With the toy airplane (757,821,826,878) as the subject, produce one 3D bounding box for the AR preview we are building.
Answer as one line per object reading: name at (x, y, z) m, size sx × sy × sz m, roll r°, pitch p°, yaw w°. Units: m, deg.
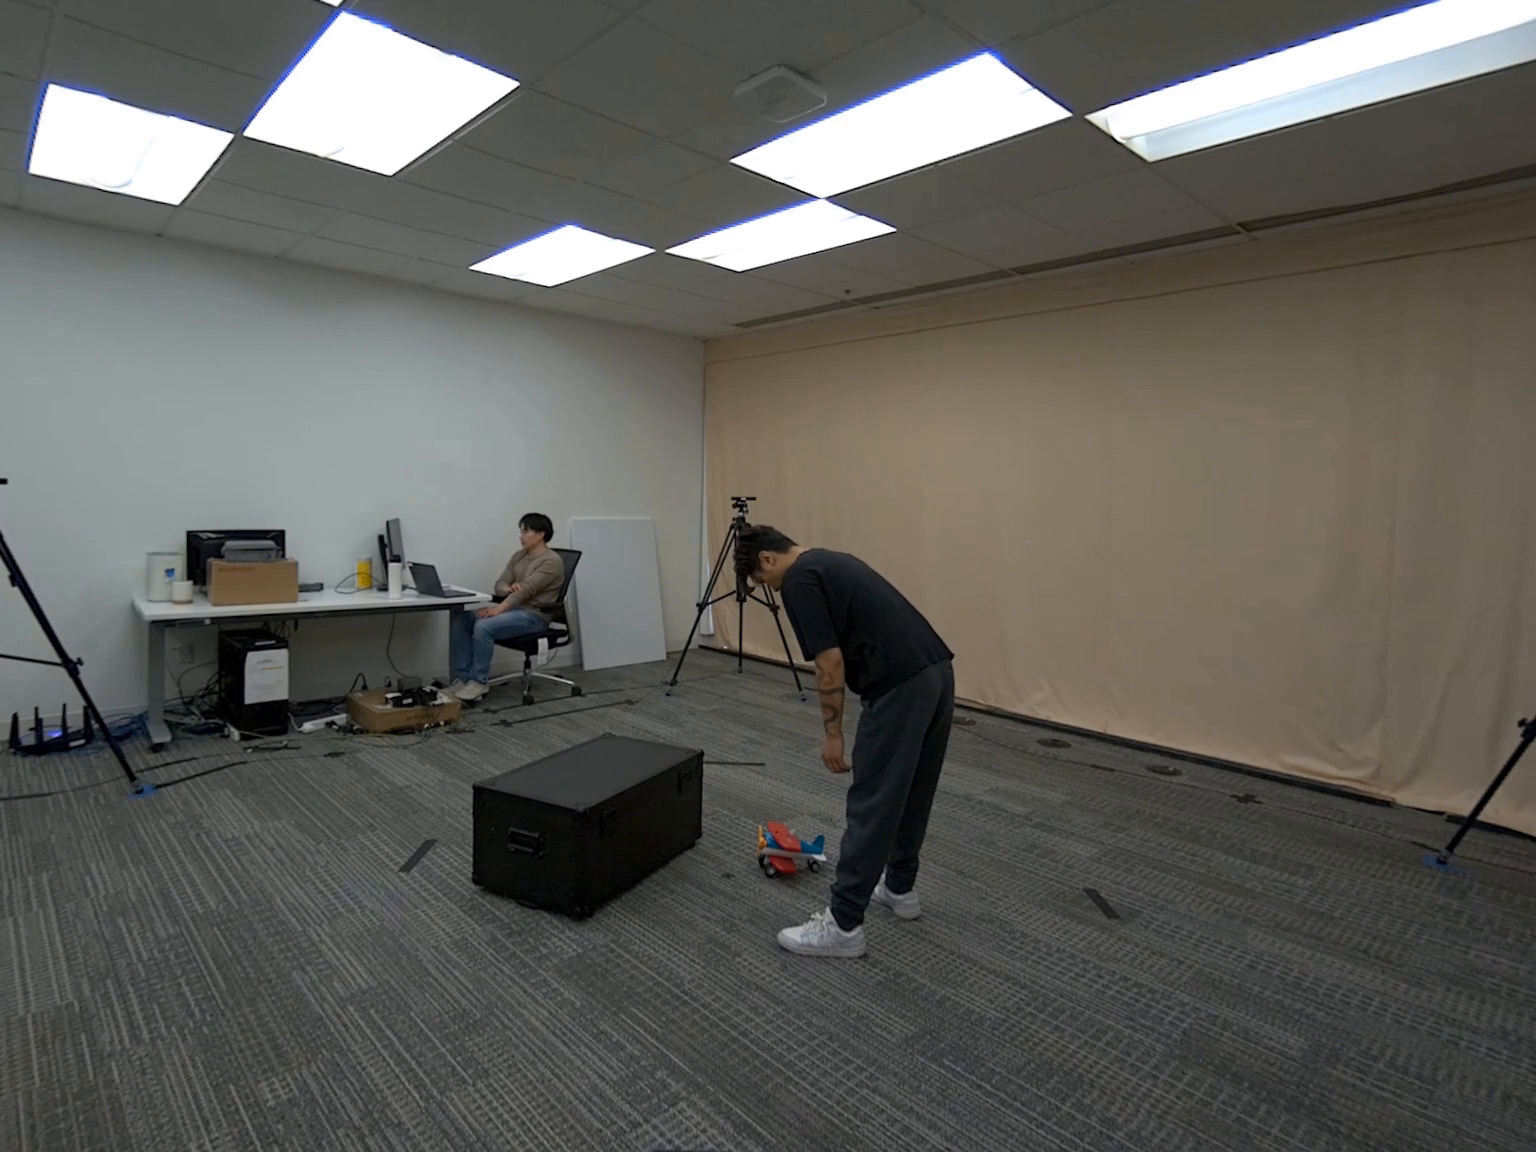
toy airplane at (0.065, 1.030, 3.174) m, size 0.253 × 0.156 × 0.257 m, roll -4°, pitch 7°, yaw -41°
